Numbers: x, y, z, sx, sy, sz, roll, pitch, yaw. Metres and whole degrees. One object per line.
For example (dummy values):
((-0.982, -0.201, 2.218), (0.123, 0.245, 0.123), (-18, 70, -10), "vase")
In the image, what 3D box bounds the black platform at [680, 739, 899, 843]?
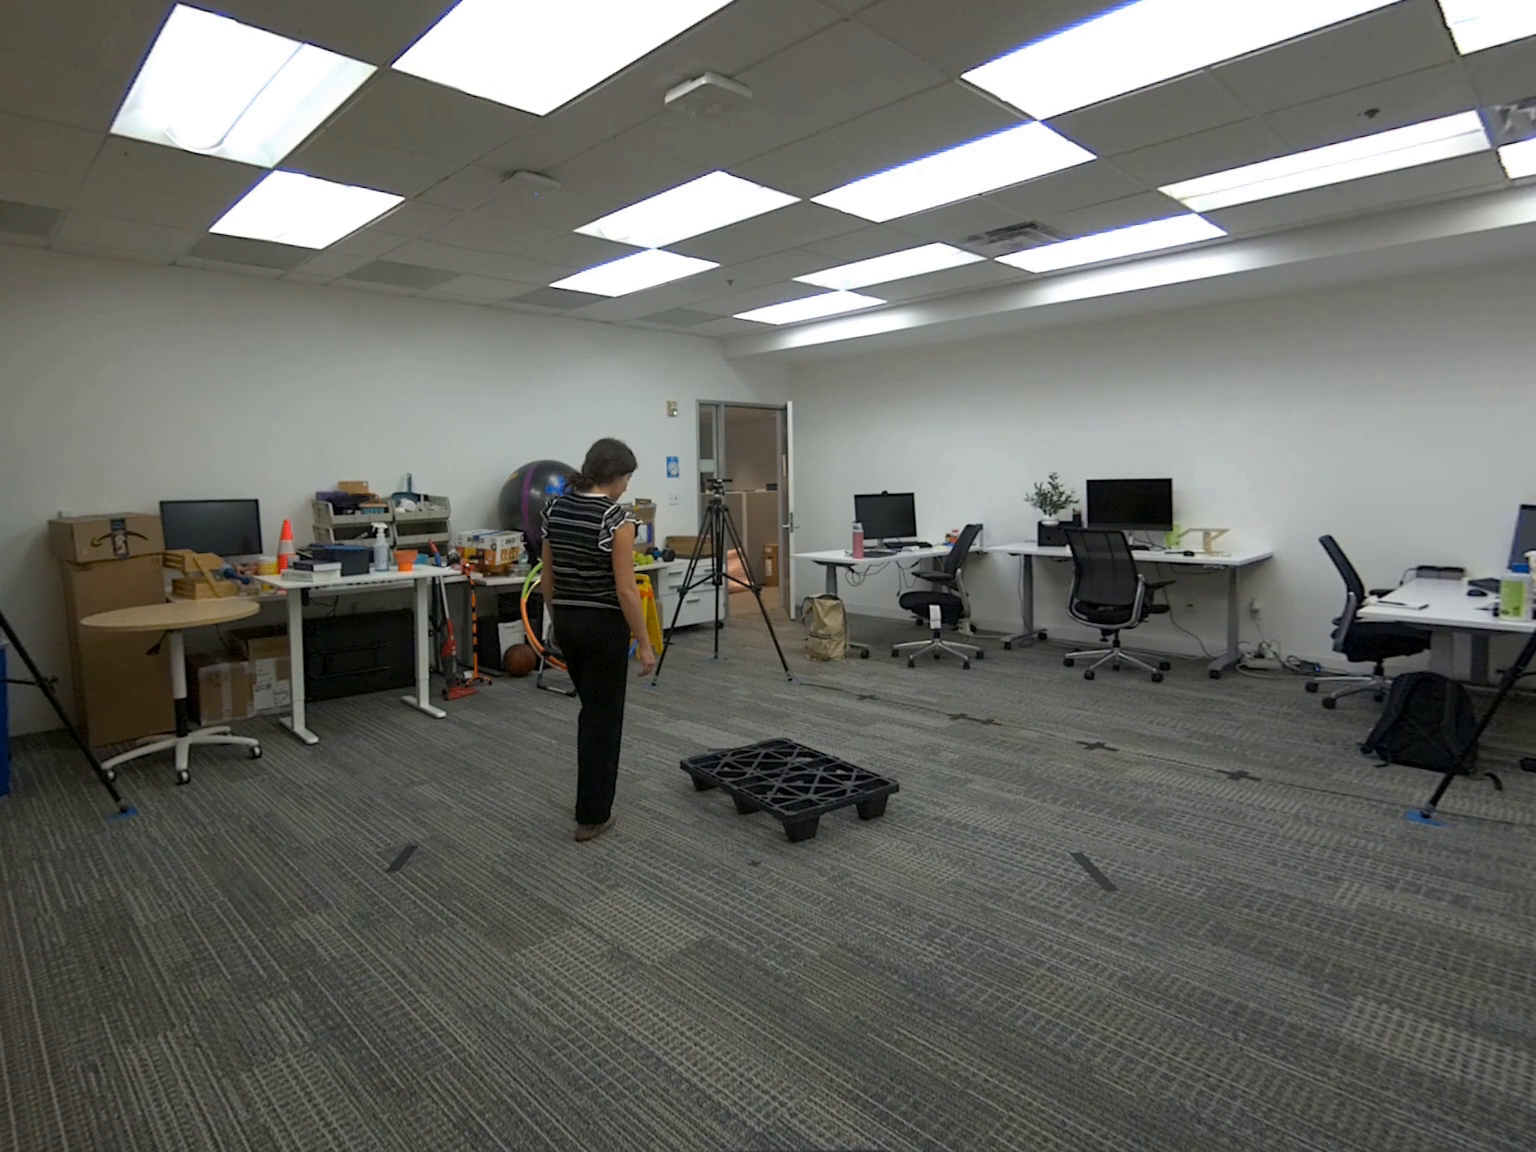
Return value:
((0.074, 0.908, 3.703), (0.590, 0.143, 0.830), (-5, 7, -35), "black platform")
